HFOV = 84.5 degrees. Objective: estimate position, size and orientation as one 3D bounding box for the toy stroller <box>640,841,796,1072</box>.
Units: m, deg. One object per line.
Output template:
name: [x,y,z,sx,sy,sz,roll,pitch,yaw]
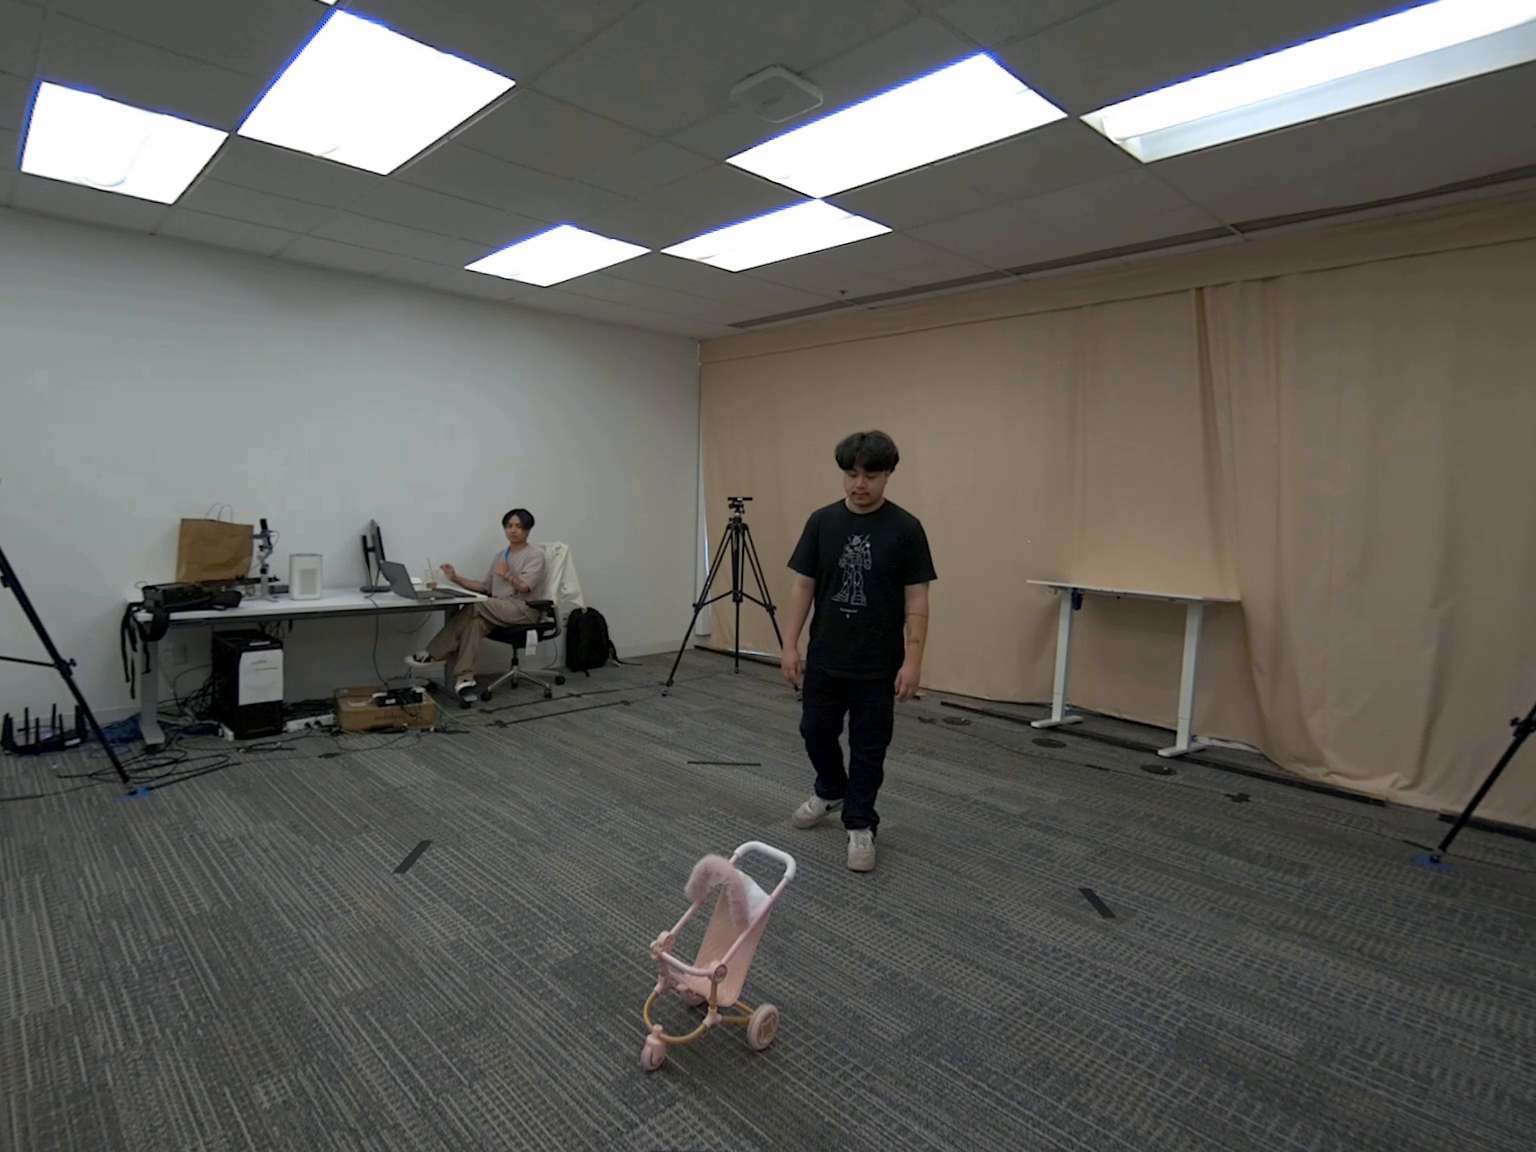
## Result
toy stroller: [-0.148,0.970,2.167,0.331,0.537,0.289,19,-9,-41]
